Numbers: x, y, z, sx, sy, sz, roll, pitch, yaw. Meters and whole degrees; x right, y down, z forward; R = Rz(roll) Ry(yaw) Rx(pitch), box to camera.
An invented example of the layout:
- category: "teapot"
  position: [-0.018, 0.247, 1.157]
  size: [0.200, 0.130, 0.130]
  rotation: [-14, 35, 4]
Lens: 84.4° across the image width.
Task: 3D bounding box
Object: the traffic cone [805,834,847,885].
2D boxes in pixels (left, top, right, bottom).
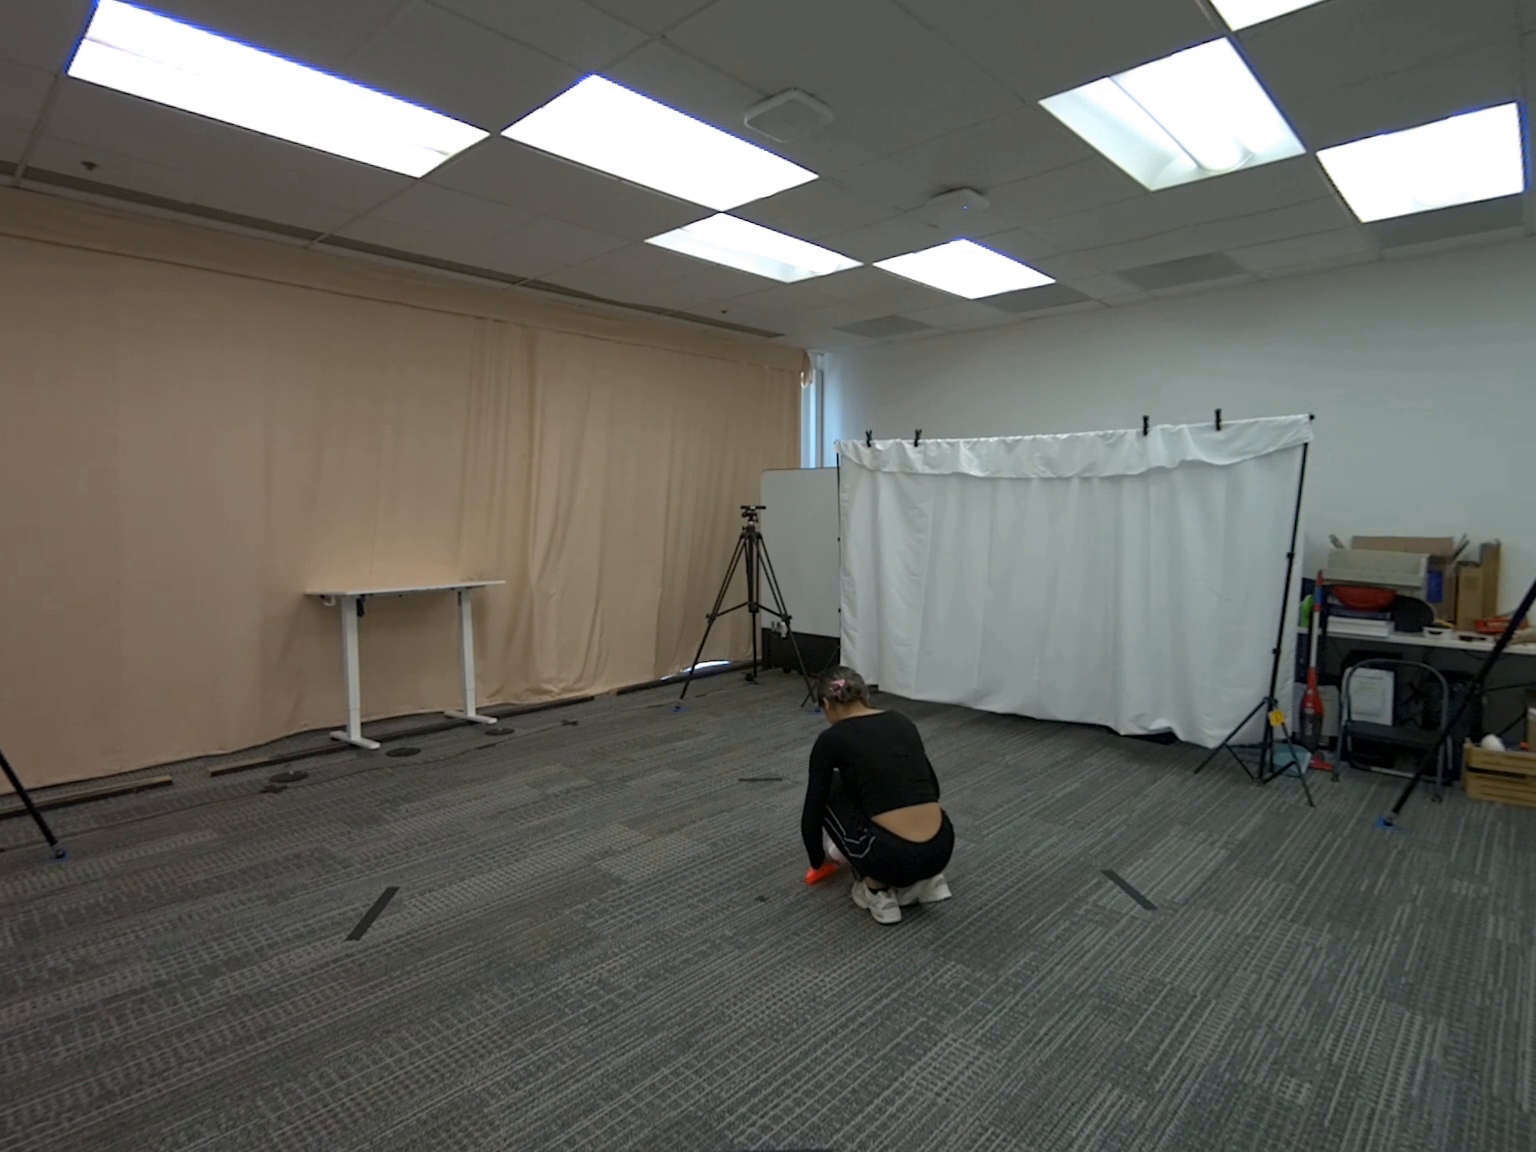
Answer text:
- category: "traffic cone"
  position: [0.271, 1.060, 3.225]
  size: [0.376, 0.203, 0.209]
  rotation: [-30, 1, -44]
